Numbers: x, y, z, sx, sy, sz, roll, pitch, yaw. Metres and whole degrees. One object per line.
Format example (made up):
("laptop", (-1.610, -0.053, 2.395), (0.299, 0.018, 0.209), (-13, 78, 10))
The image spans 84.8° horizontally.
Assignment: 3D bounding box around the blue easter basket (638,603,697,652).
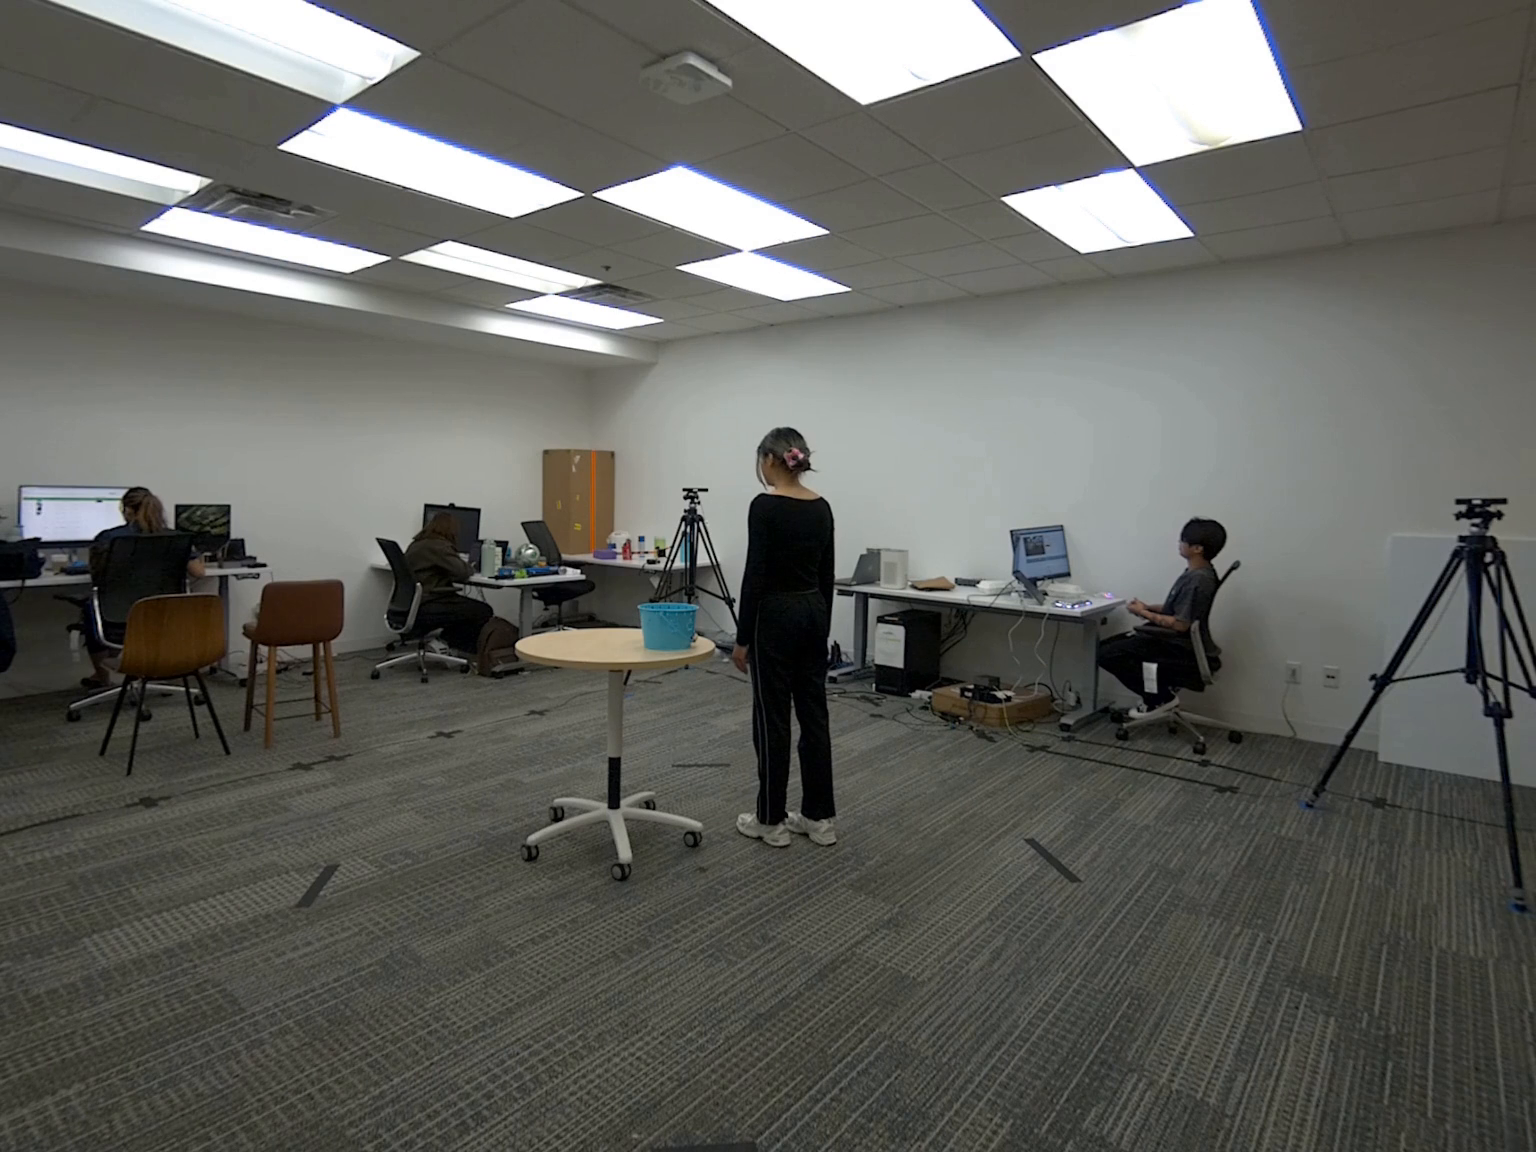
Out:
("blue easter basket", (-0.391, 0.193, 3.256), (0.243, 0.155, 0.244), (0, 3, -2))
